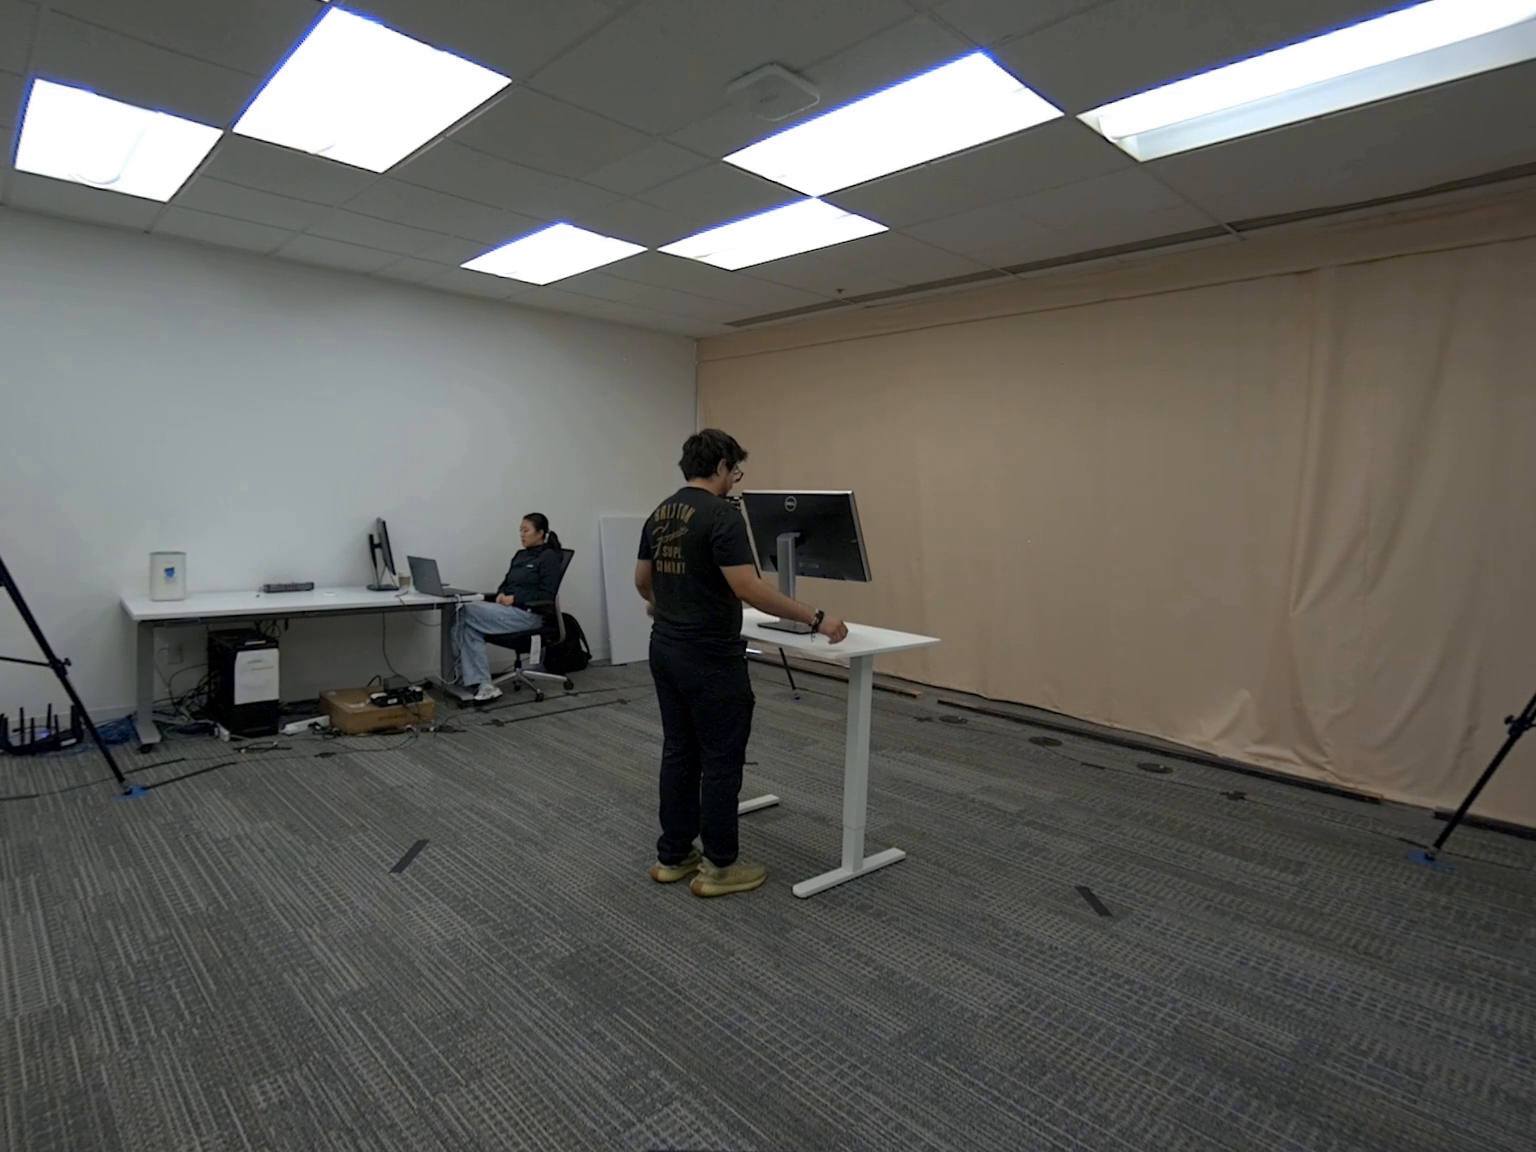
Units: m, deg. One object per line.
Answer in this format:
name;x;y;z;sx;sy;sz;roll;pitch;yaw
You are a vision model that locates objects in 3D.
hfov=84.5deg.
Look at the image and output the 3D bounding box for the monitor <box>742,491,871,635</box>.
monitor;0.092;-0.058;3.283;0.580;0.549;0.207;6;16;44
